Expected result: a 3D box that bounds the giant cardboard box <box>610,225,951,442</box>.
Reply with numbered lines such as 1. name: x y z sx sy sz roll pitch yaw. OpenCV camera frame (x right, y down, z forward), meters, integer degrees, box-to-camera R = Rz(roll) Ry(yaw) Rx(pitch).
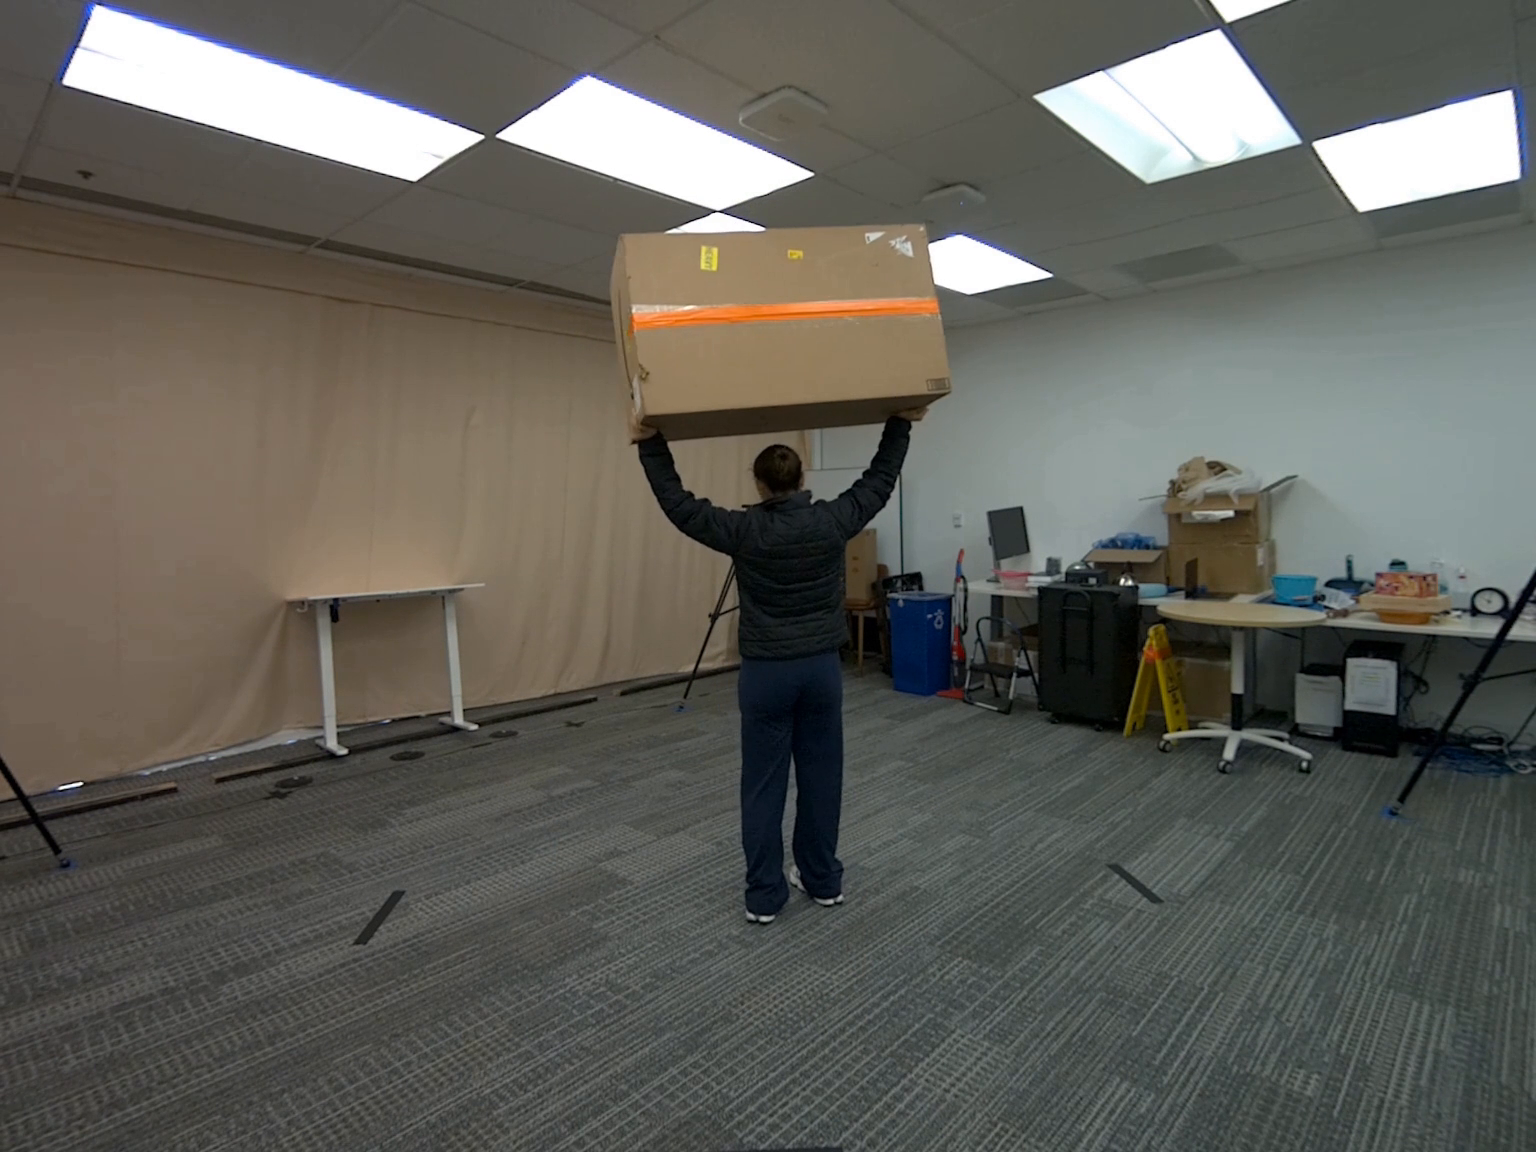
1. giant cardboard box: 0.032 -0.806 2.864 1.013 0.586 0.451 -7 -3 -14
